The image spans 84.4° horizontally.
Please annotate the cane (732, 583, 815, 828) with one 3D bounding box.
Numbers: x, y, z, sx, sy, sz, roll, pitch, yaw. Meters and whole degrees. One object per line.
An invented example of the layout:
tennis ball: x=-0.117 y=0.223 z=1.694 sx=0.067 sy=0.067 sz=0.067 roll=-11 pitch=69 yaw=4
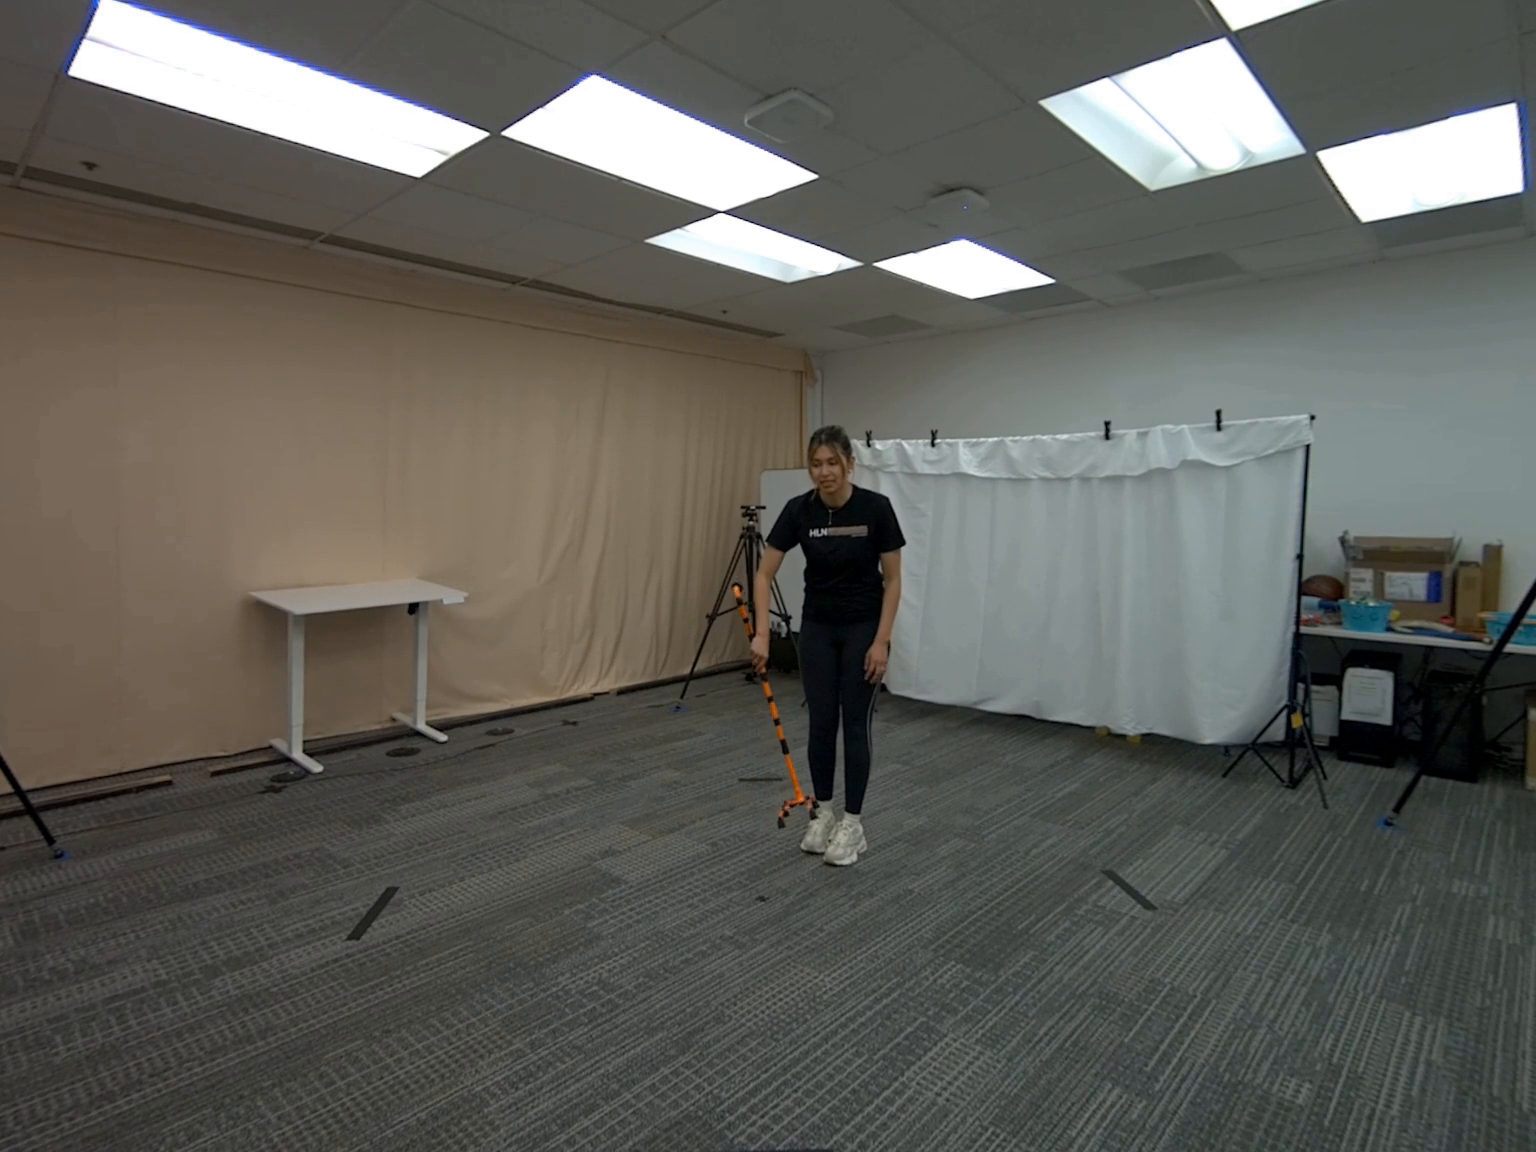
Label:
cane: x=0.006 y=0.477 z=3.195 sx=0.152 sy=0.912 sz=0.204 roll=-14 pitch=-5 yaw=5
